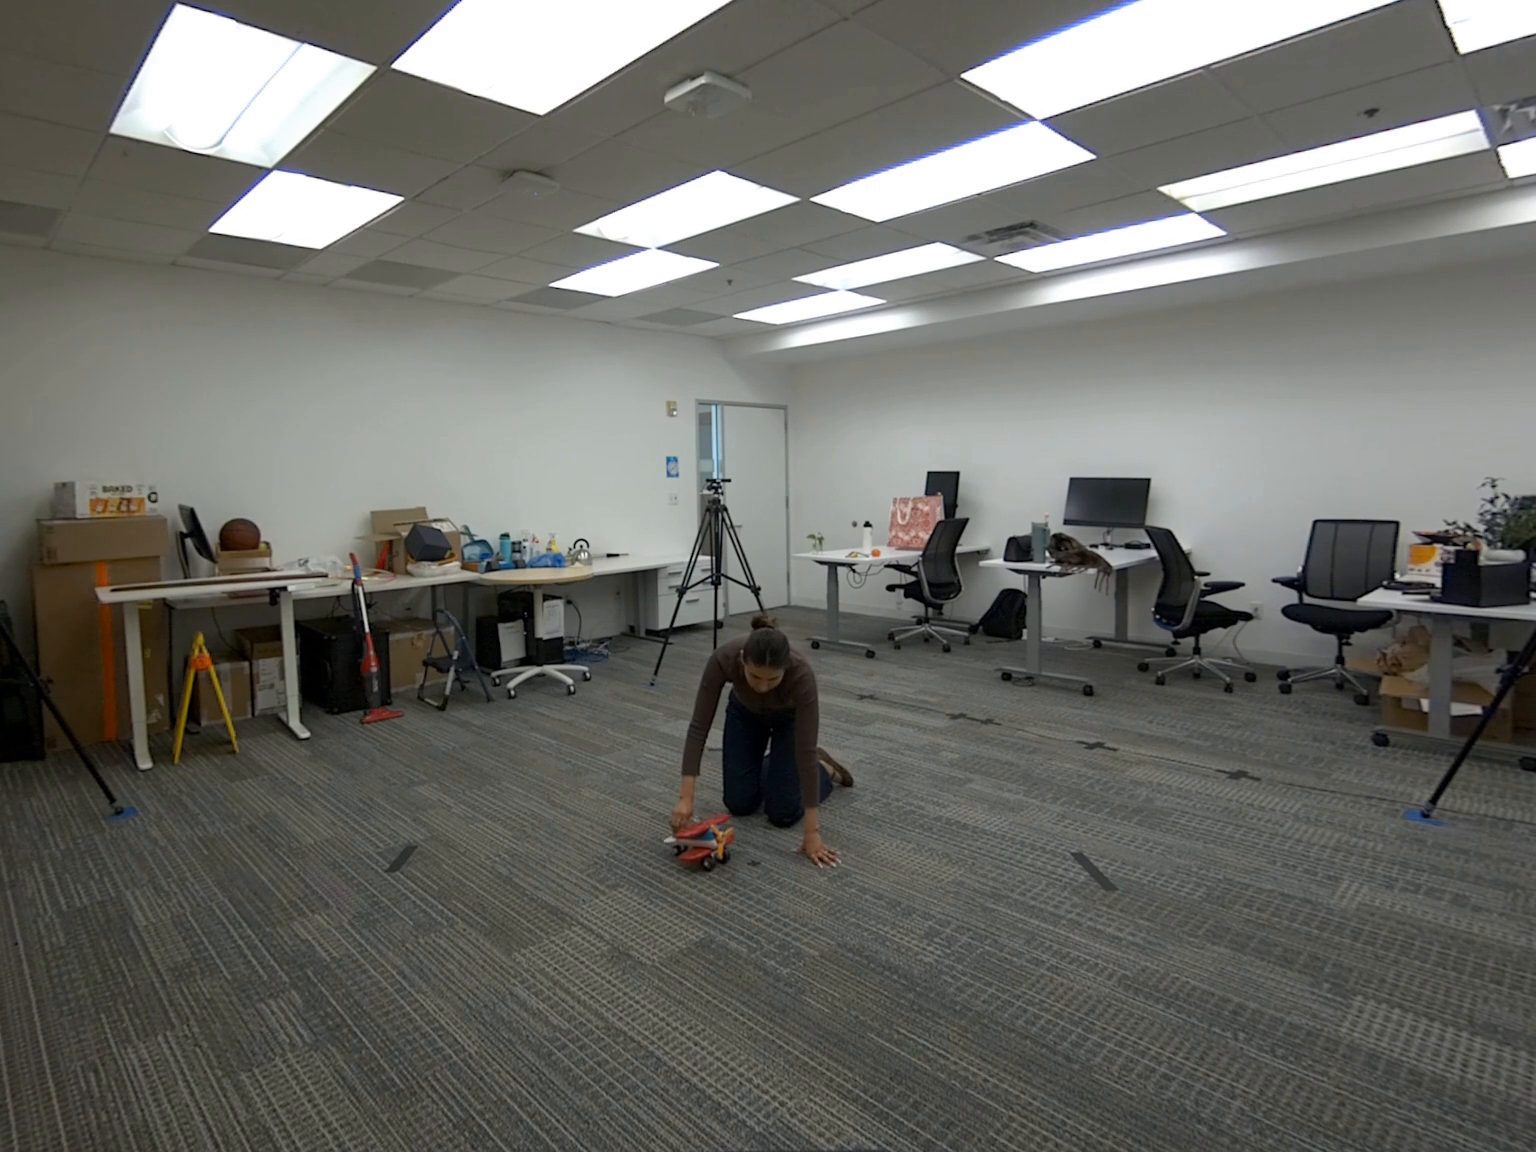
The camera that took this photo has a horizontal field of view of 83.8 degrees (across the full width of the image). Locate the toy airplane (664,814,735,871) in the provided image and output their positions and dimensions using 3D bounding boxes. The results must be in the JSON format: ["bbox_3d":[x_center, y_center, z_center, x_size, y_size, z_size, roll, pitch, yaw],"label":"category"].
[{"bbox_3d":[-0.263,0.973,3.121,0.262,0.156,0.249,2,5,11],"label":"toy airplane"}]
